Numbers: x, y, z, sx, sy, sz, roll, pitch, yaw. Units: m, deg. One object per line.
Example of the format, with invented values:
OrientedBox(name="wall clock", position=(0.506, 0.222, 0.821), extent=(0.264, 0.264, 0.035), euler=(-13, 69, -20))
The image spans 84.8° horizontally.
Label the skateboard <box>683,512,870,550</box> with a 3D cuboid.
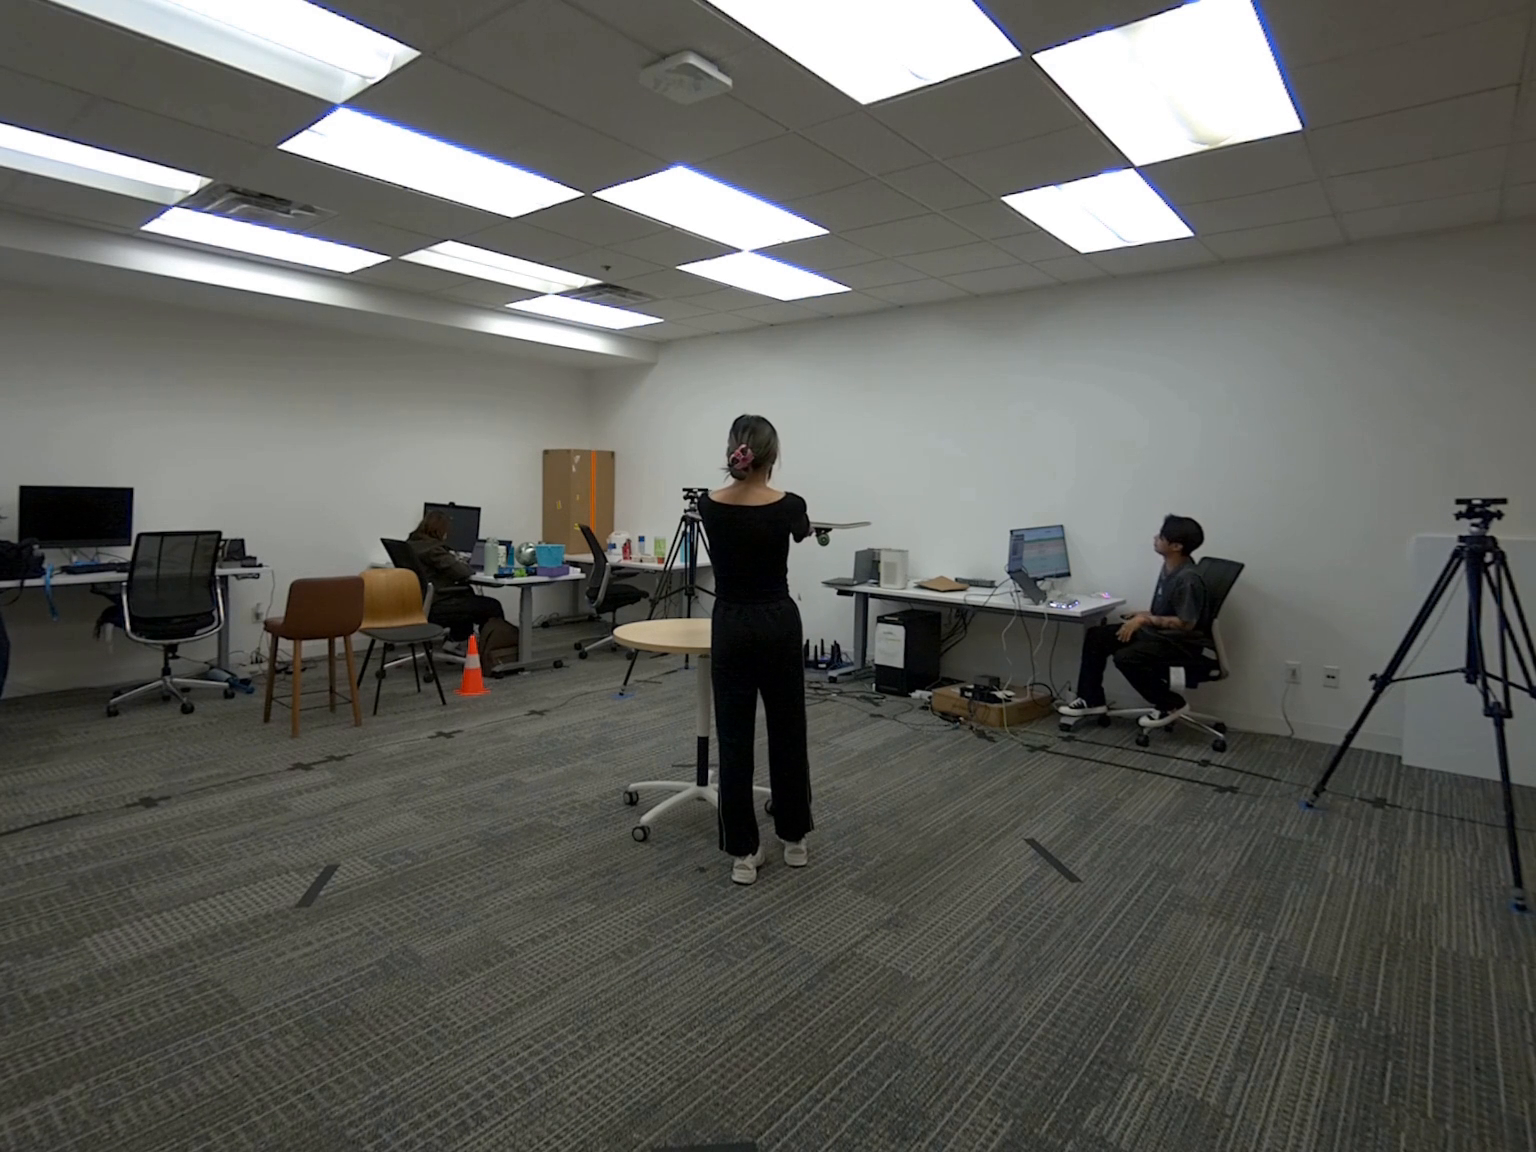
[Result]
OrientedBox(name="skateboard", position=(0.036, -0.202, 3.665), extent=(0.793, 0.110, 0.192), euler=(3, 7, 8))
